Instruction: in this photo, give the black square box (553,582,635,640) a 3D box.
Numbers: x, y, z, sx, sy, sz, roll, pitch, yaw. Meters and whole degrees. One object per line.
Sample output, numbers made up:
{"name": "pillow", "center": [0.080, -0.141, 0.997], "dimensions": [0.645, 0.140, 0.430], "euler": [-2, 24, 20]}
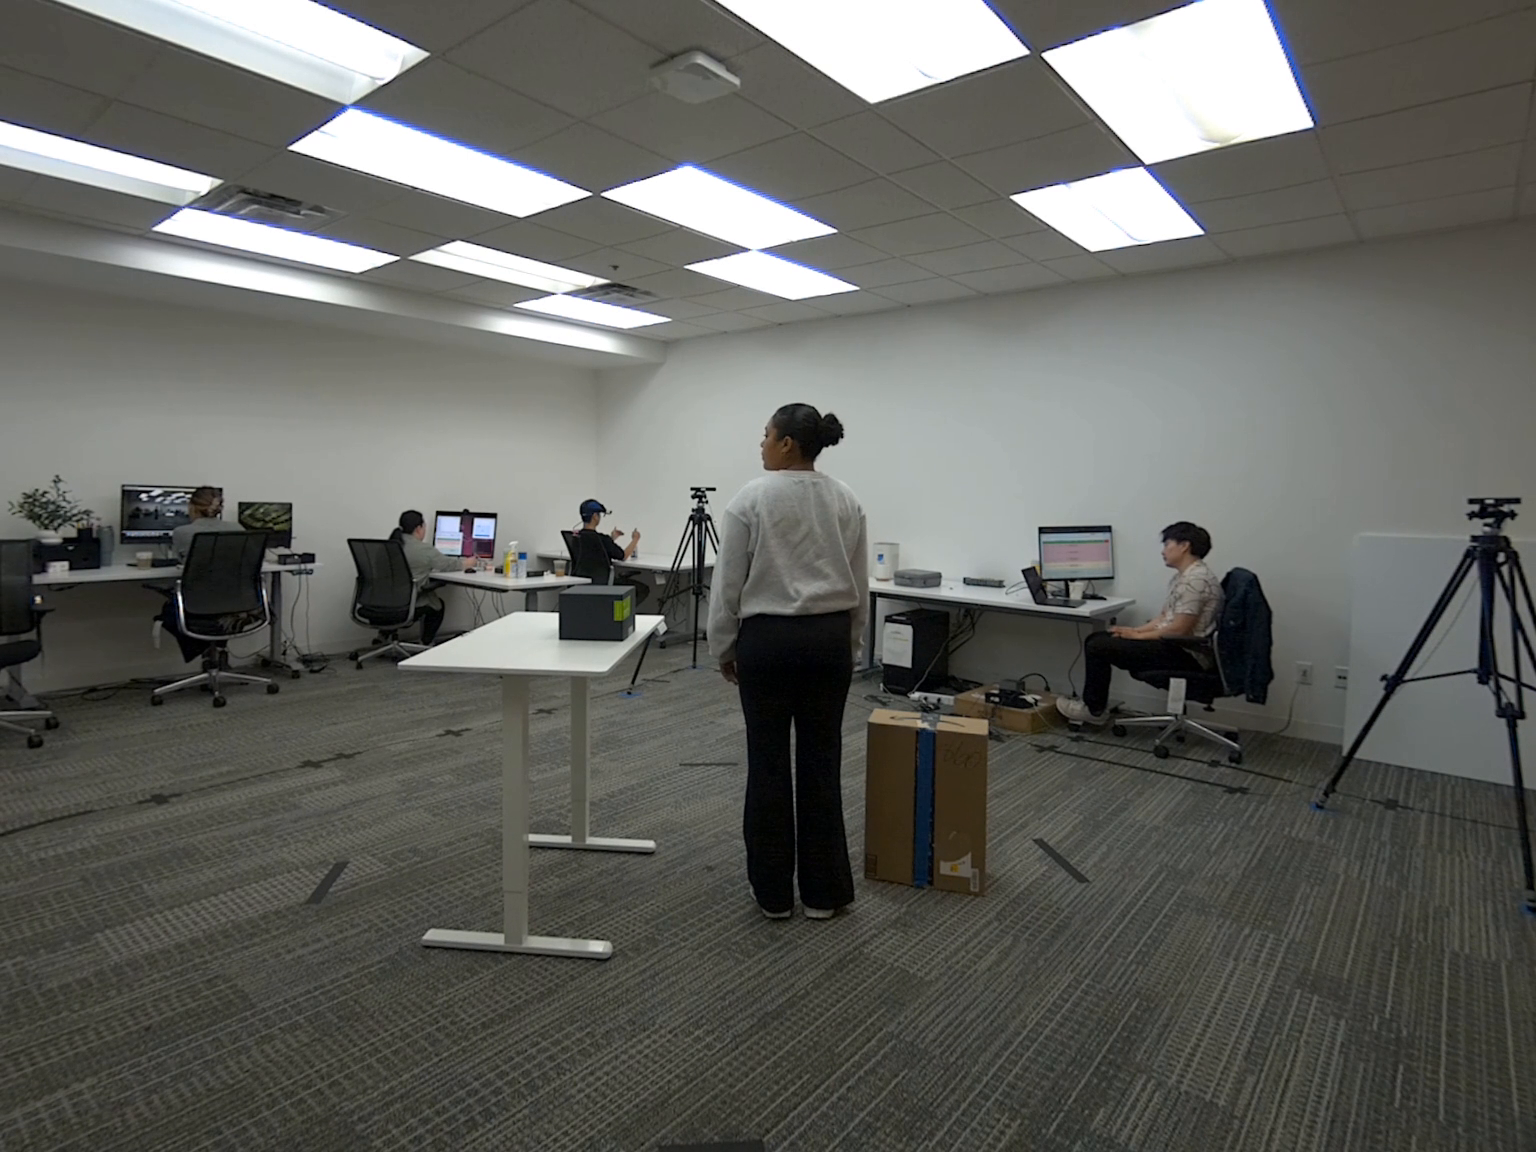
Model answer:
{"name": "black square box", "center": [-0.592, 0.116, 2.879], "dimensions": [0.218, 0.155, 0.228], "euler": [-1, 6, 5]}
